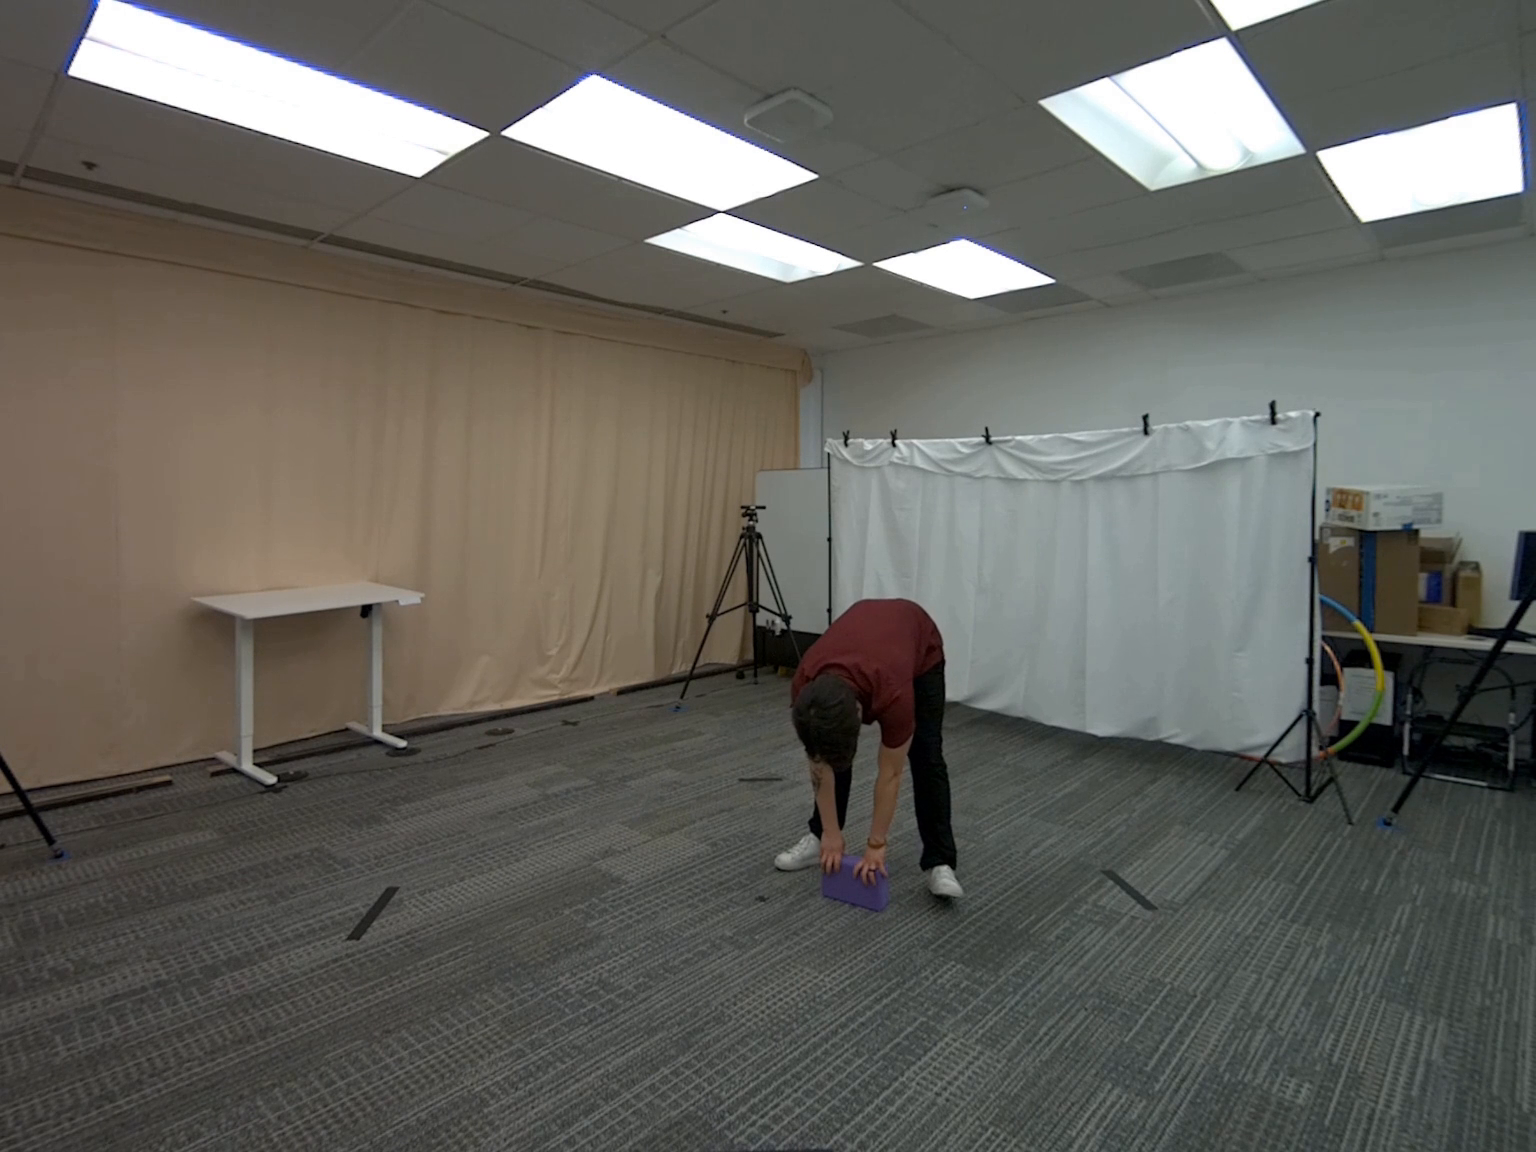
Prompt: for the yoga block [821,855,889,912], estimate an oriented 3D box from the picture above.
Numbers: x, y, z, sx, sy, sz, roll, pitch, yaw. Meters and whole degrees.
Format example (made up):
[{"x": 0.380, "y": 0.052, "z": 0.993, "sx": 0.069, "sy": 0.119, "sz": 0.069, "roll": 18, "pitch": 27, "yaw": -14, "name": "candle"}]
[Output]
[{"x": 0.314, "y": 1.066, "z": 2.973, "sx": 0.236, "sy": 0.149, "sz": 0.074, "roll": 4, "pitch": 1, "yaw": 35, "name": "yoga block"}]
